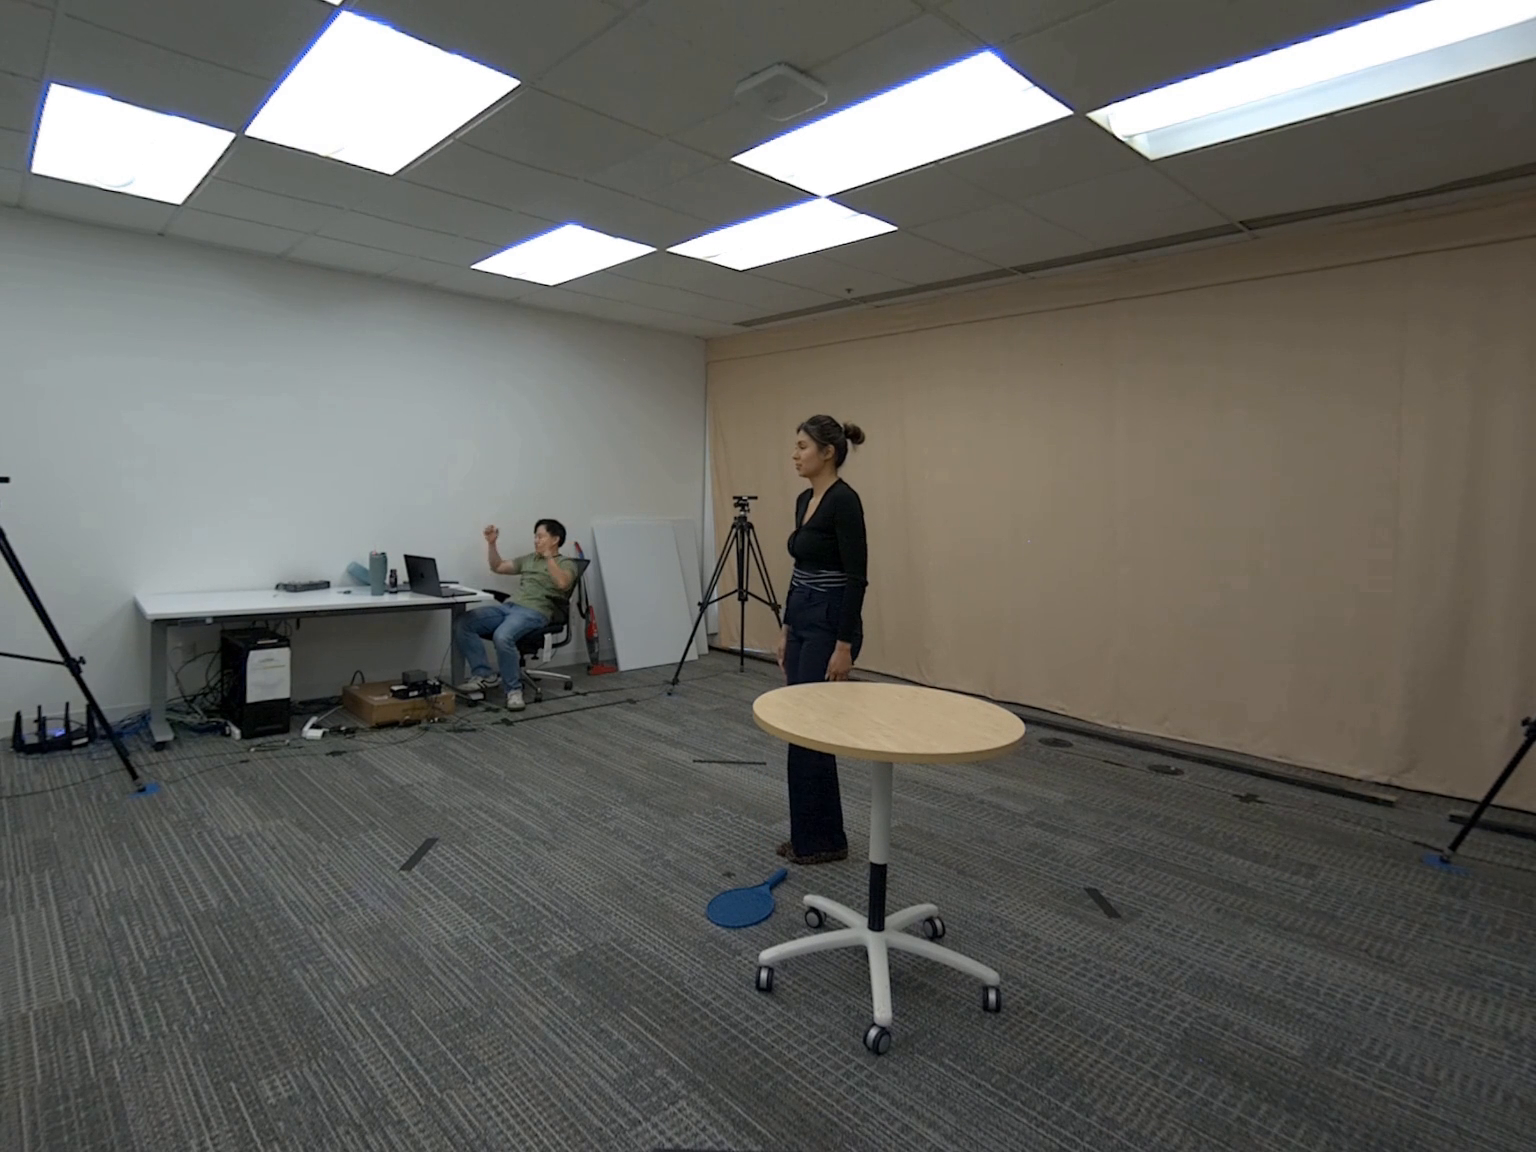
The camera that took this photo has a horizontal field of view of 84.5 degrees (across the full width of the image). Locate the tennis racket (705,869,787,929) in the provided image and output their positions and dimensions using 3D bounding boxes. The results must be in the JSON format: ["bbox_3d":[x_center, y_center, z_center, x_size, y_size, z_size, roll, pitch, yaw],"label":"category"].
[{"bbox_3d":[-0.058,1.108,2.908,0.218,0.031,0.425,5,8,29],"label":"tennis racket"}]
